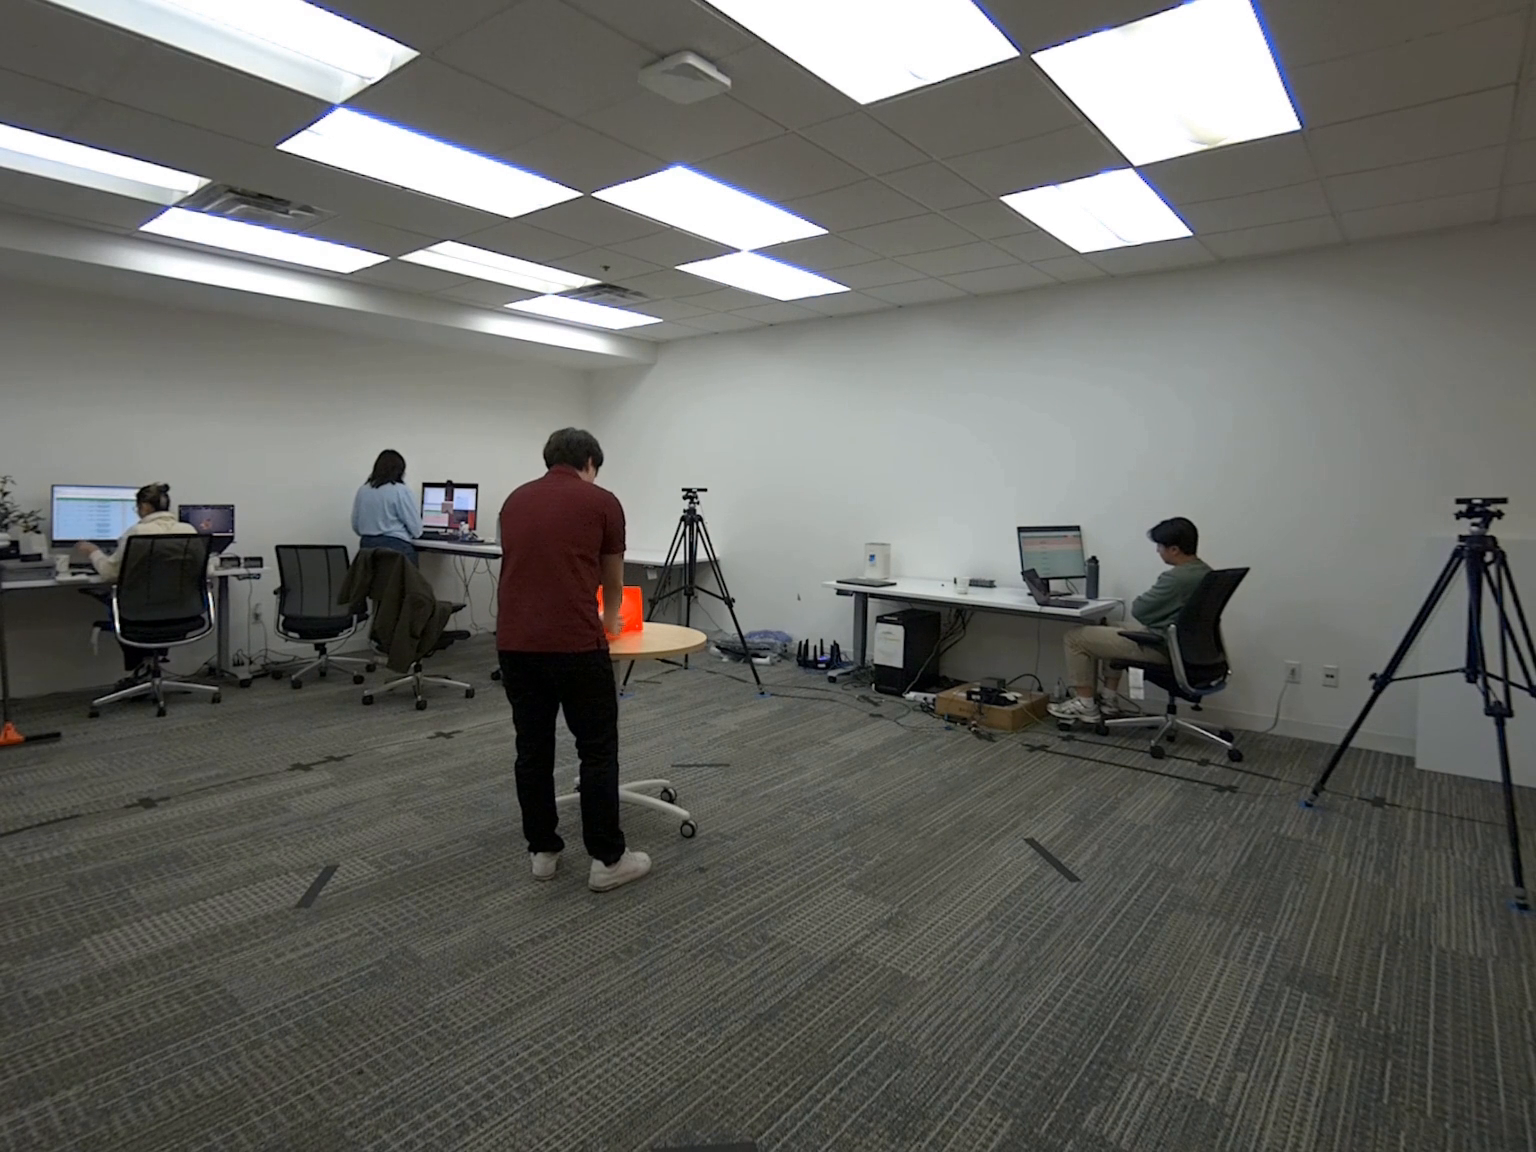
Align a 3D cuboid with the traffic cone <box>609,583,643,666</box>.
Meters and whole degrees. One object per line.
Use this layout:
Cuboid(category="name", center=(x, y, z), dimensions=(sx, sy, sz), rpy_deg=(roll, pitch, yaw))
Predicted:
Cuboid(category="traffic cone", center=(-0.654, 0.194, 3.418), dimensions=(0.204, 0.202, 0.388), rpy_deg=(-5, 16, 3))
